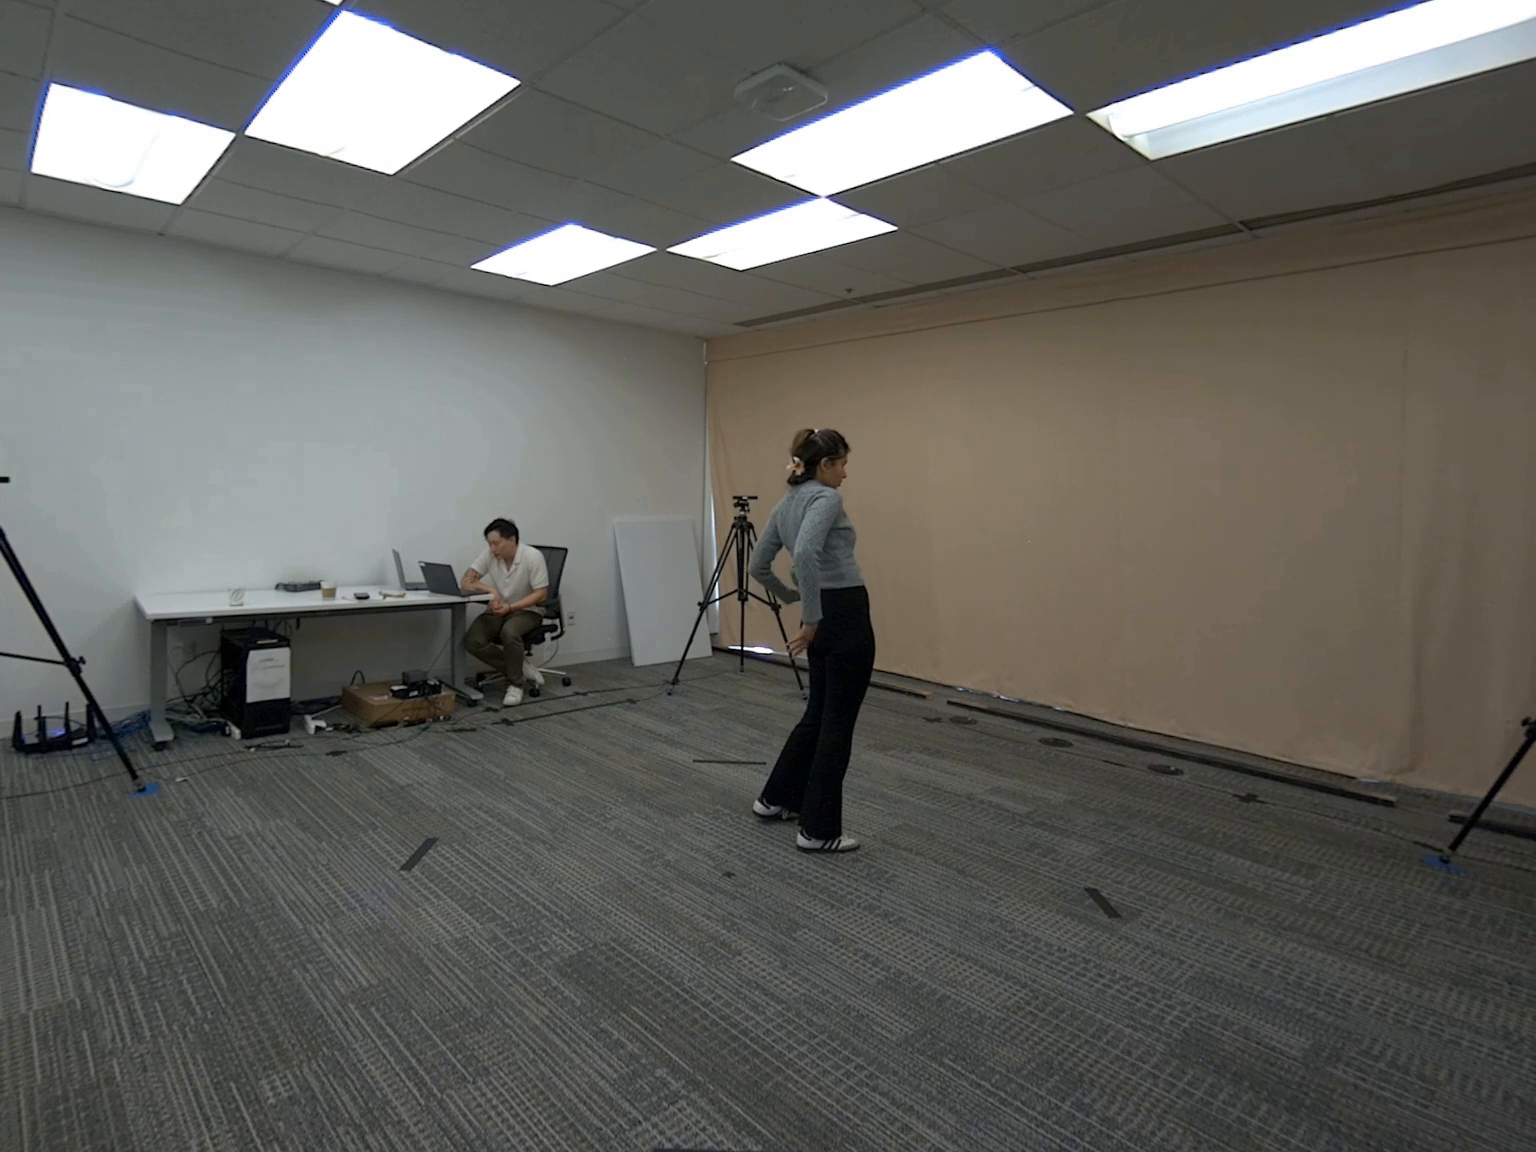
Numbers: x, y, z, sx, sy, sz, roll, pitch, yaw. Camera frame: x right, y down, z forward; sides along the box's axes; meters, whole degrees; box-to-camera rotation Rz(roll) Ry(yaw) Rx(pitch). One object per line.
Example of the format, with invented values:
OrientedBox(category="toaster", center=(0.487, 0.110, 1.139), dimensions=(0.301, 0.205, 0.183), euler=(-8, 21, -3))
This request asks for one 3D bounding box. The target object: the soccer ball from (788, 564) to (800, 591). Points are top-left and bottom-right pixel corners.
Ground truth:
OrientedBox(category="soccer ball", center=(0.179, -0.022, 3.684), dimensions=(0.187, 0.187, 0.188), euler=(1, 4, -1))
